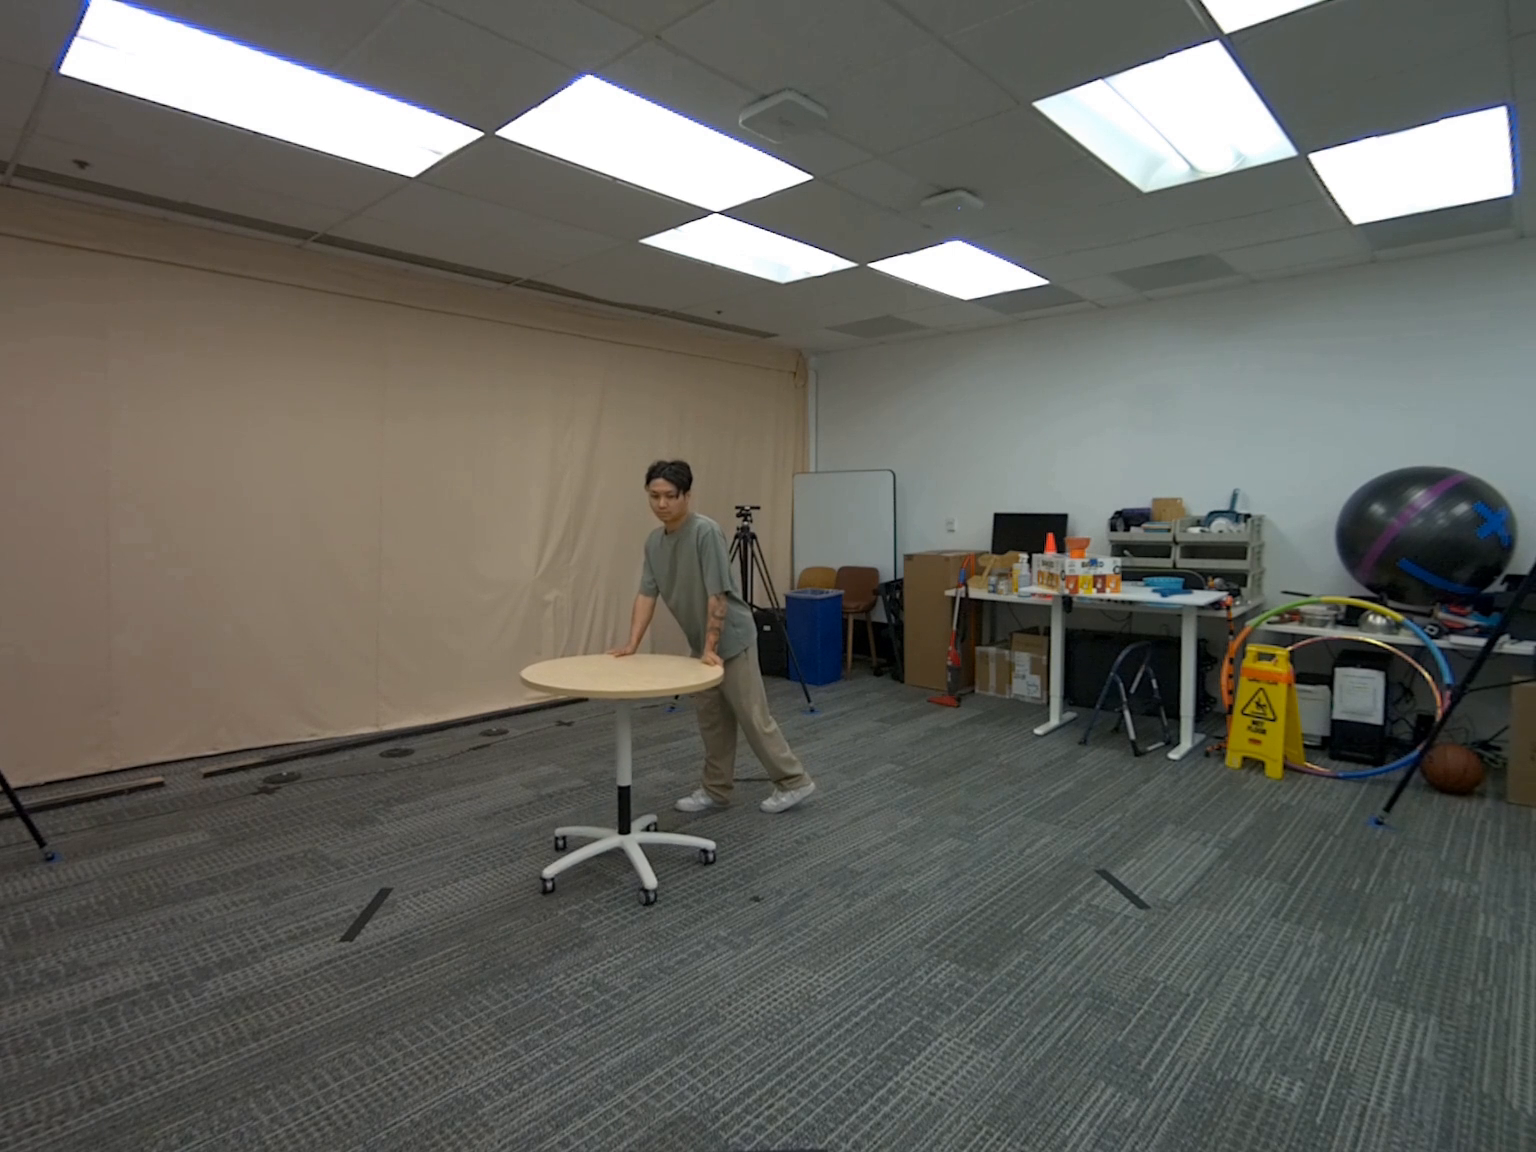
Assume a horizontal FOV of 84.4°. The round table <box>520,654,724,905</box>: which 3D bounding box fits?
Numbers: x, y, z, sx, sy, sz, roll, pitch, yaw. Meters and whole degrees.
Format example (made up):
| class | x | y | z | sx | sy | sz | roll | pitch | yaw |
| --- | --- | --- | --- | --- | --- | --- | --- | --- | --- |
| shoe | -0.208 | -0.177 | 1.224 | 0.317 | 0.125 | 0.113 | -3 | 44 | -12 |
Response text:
| class | x | y | z | sx | sy | sz | roll | pitch | yaw |
| --- | --- | --- | --- | --- | --- | --- | --- | --- | --- |
| round table | -0.568 | 0.742 | 3.222 | 0.784 | 0.785 | 0.787 | 0 | 3 | -2 |
